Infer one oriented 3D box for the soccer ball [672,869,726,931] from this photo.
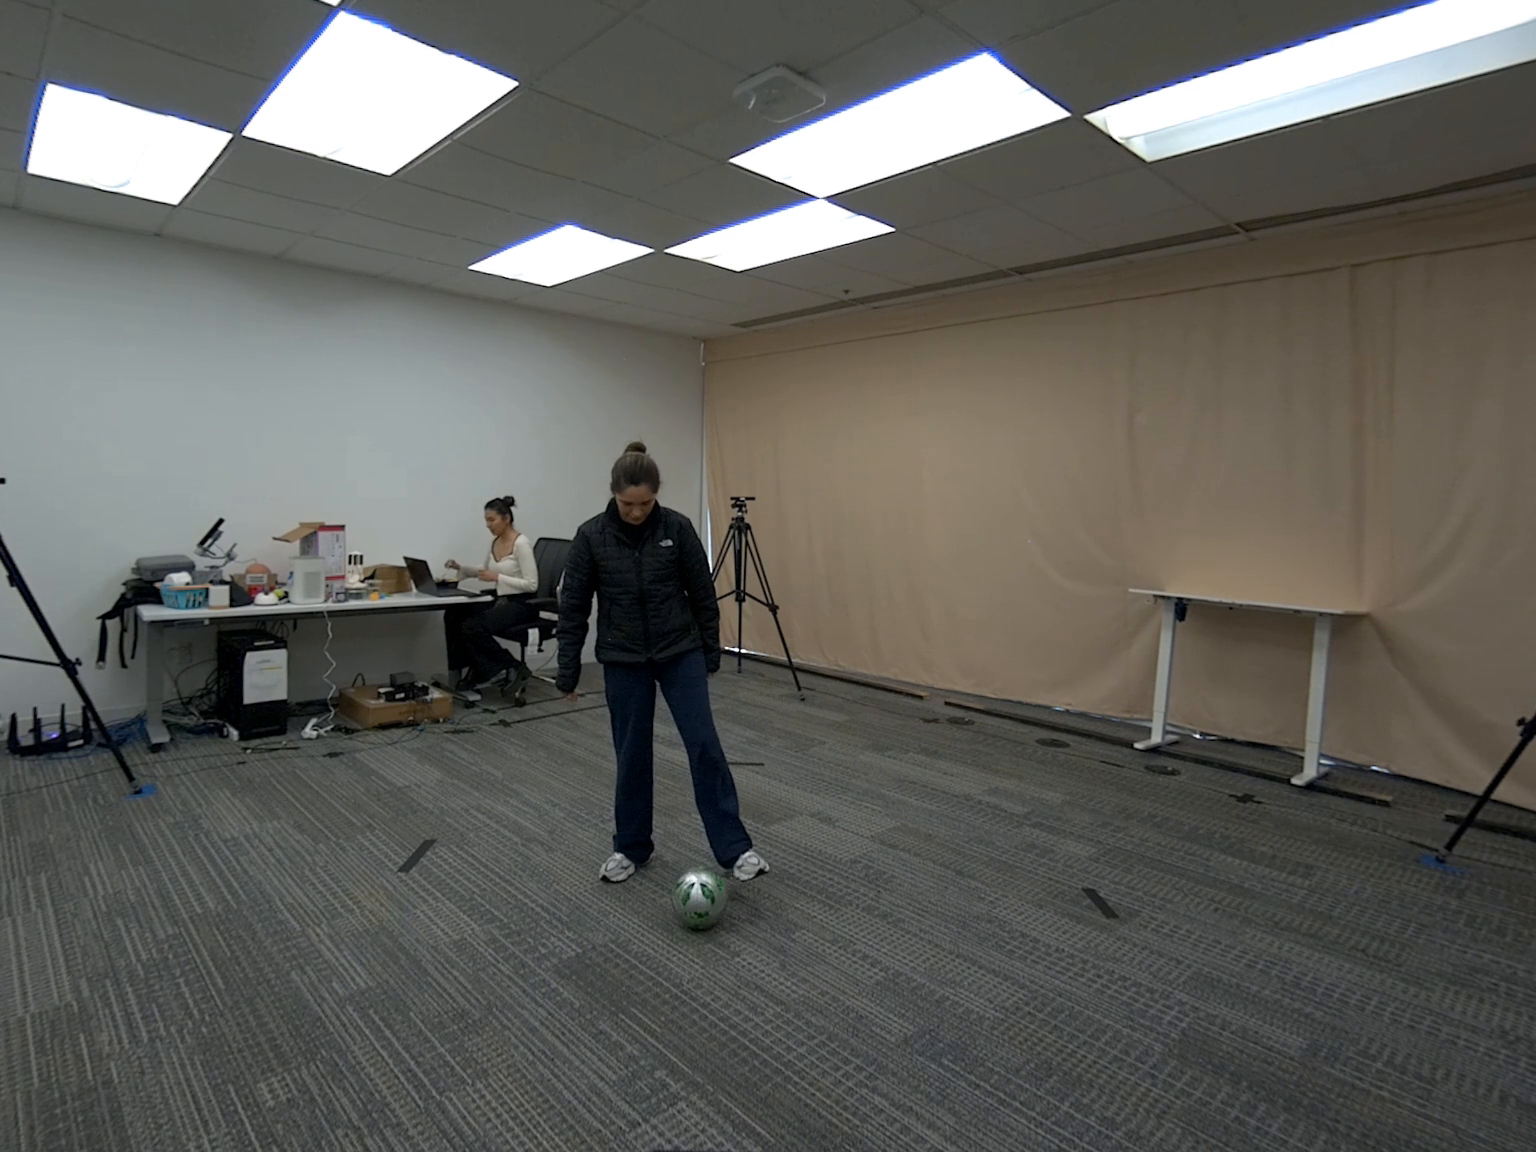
[{"bbox_3d":[-0.230,1.044,2.729,0.187,0.187,0.188,1,4,-1],"label":"soccer ball"}]
